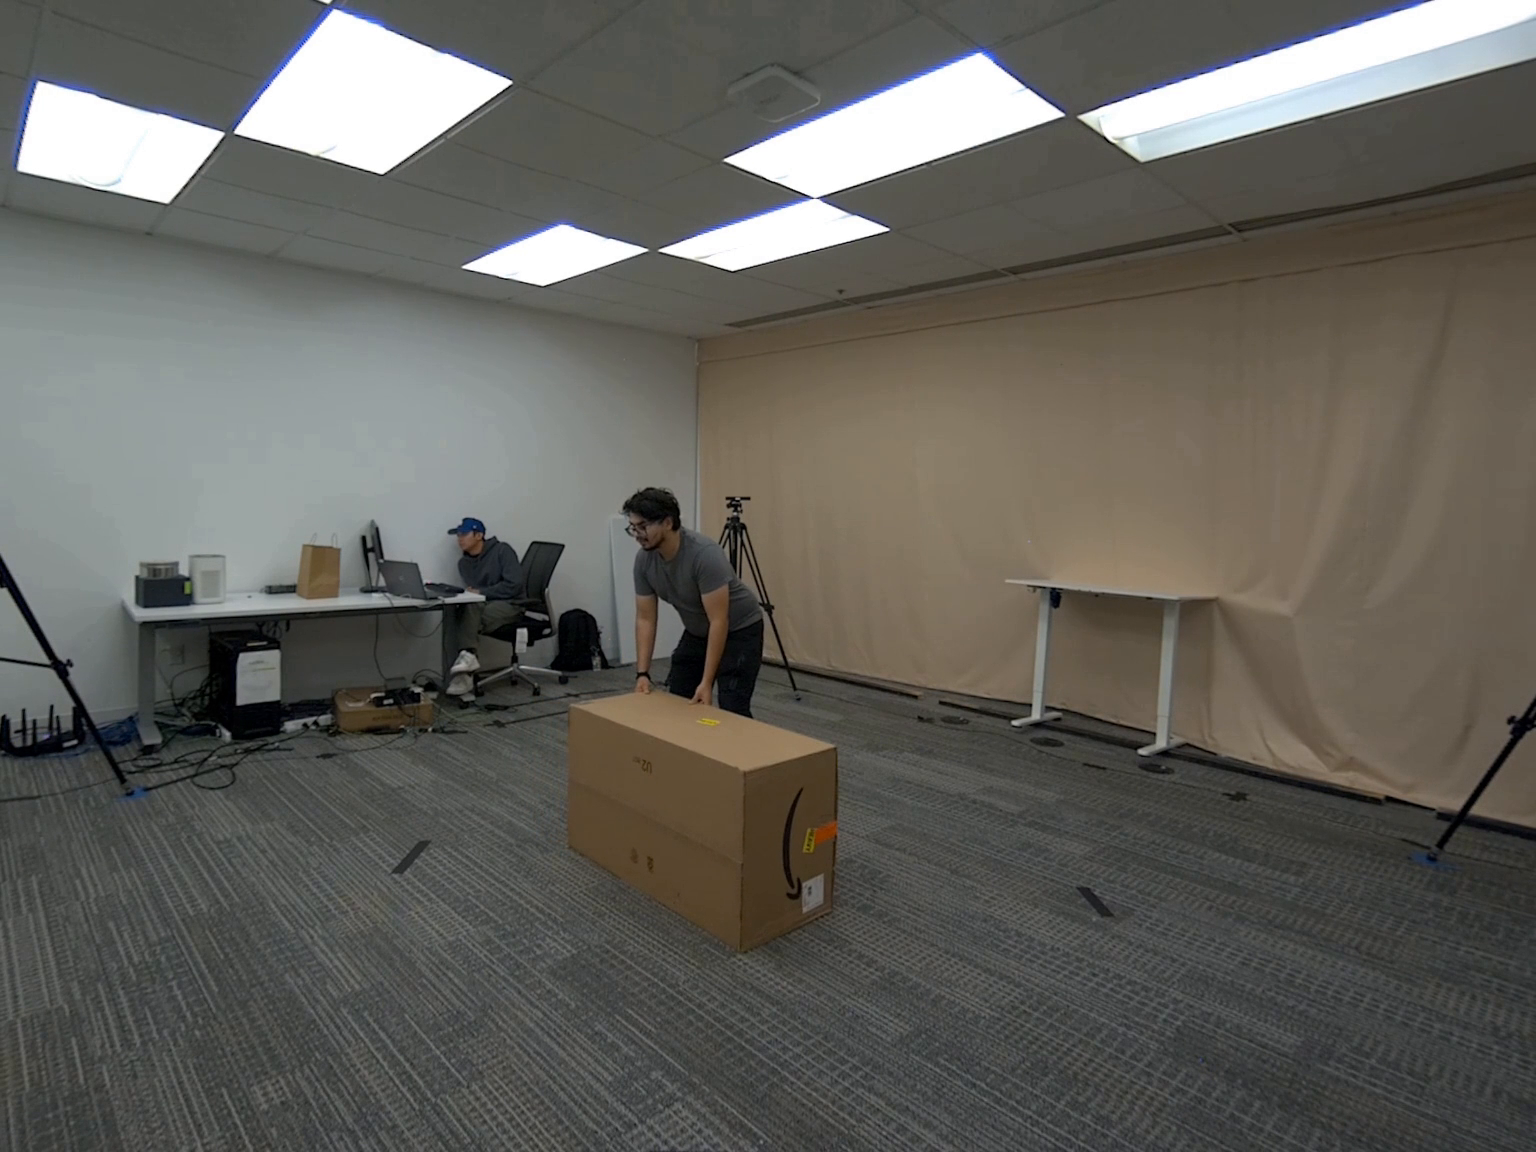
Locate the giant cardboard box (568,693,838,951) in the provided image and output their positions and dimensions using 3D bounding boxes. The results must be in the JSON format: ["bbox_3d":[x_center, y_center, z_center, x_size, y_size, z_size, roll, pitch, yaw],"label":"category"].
[{"bbox_3d":[-0.284,0.822,3.068,0.416,0.576,1.052,-3,6,-43],"label":"giant cardboard box"}]
